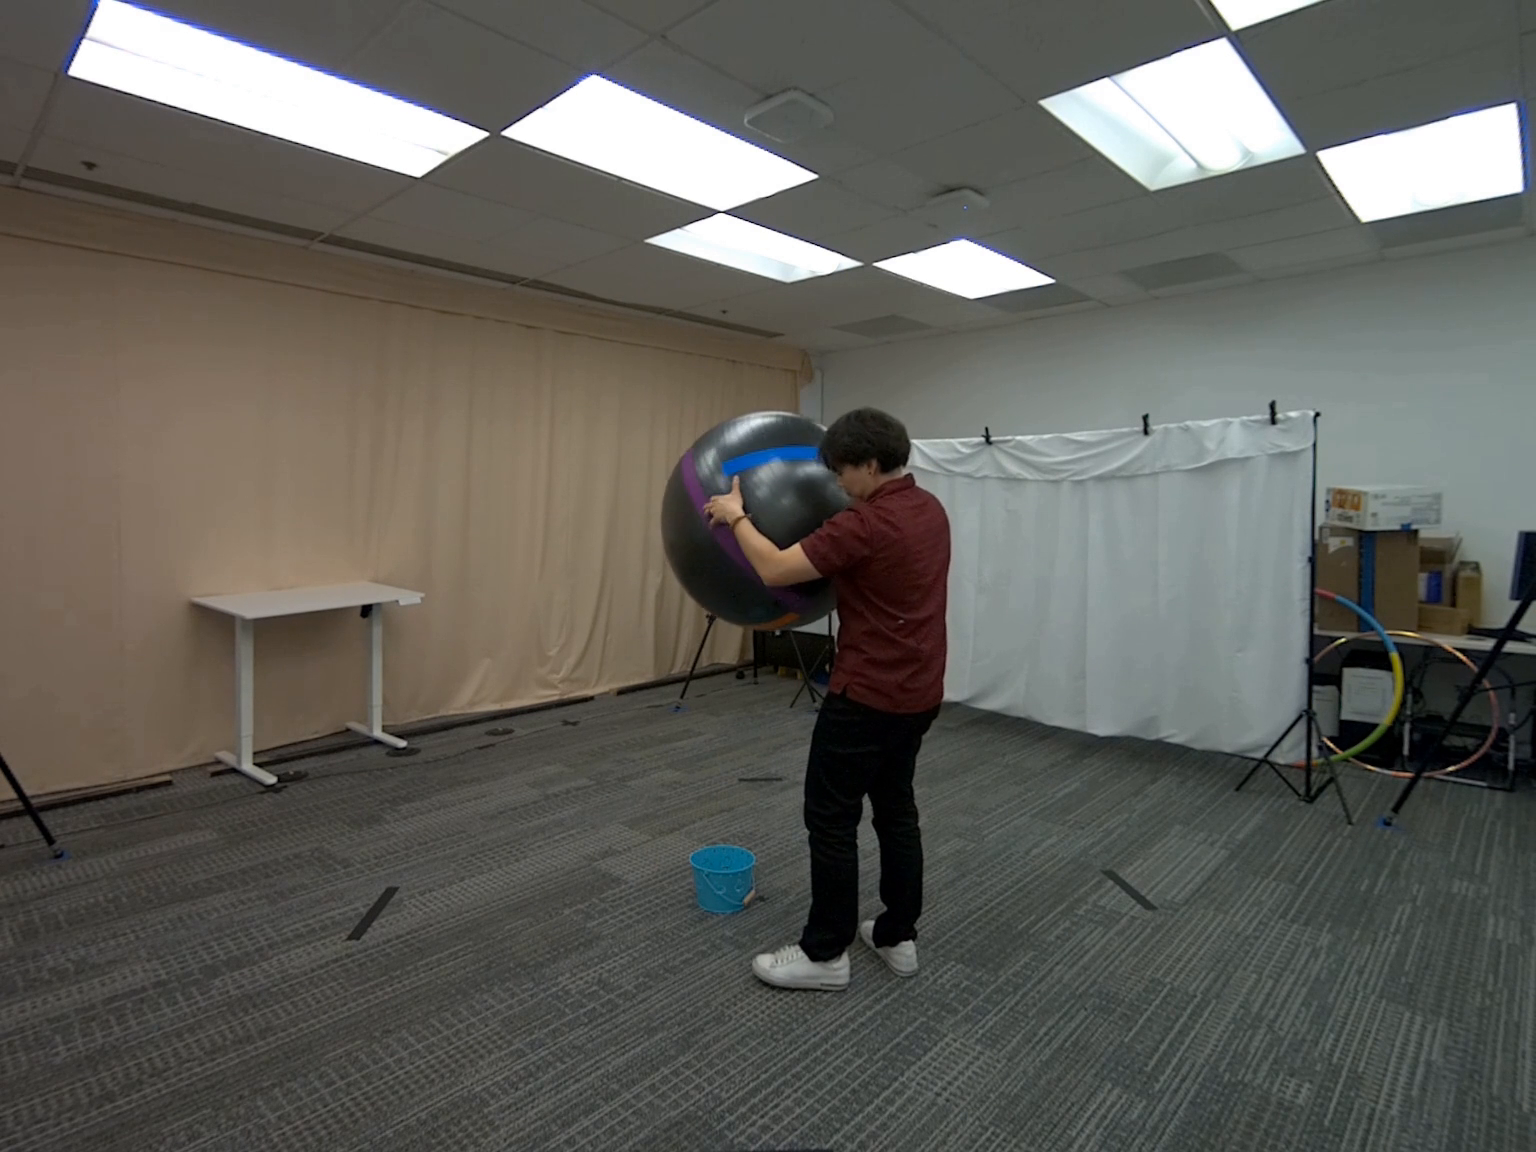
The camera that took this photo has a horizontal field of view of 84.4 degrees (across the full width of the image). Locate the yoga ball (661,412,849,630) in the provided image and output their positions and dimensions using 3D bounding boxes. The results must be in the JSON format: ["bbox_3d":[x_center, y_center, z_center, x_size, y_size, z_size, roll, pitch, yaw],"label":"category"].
[{"bbox_3d":[0.006,-0.182,2.937,0.757,0.756,0.760,0,4,-2],"label":"yoga ball"}]
